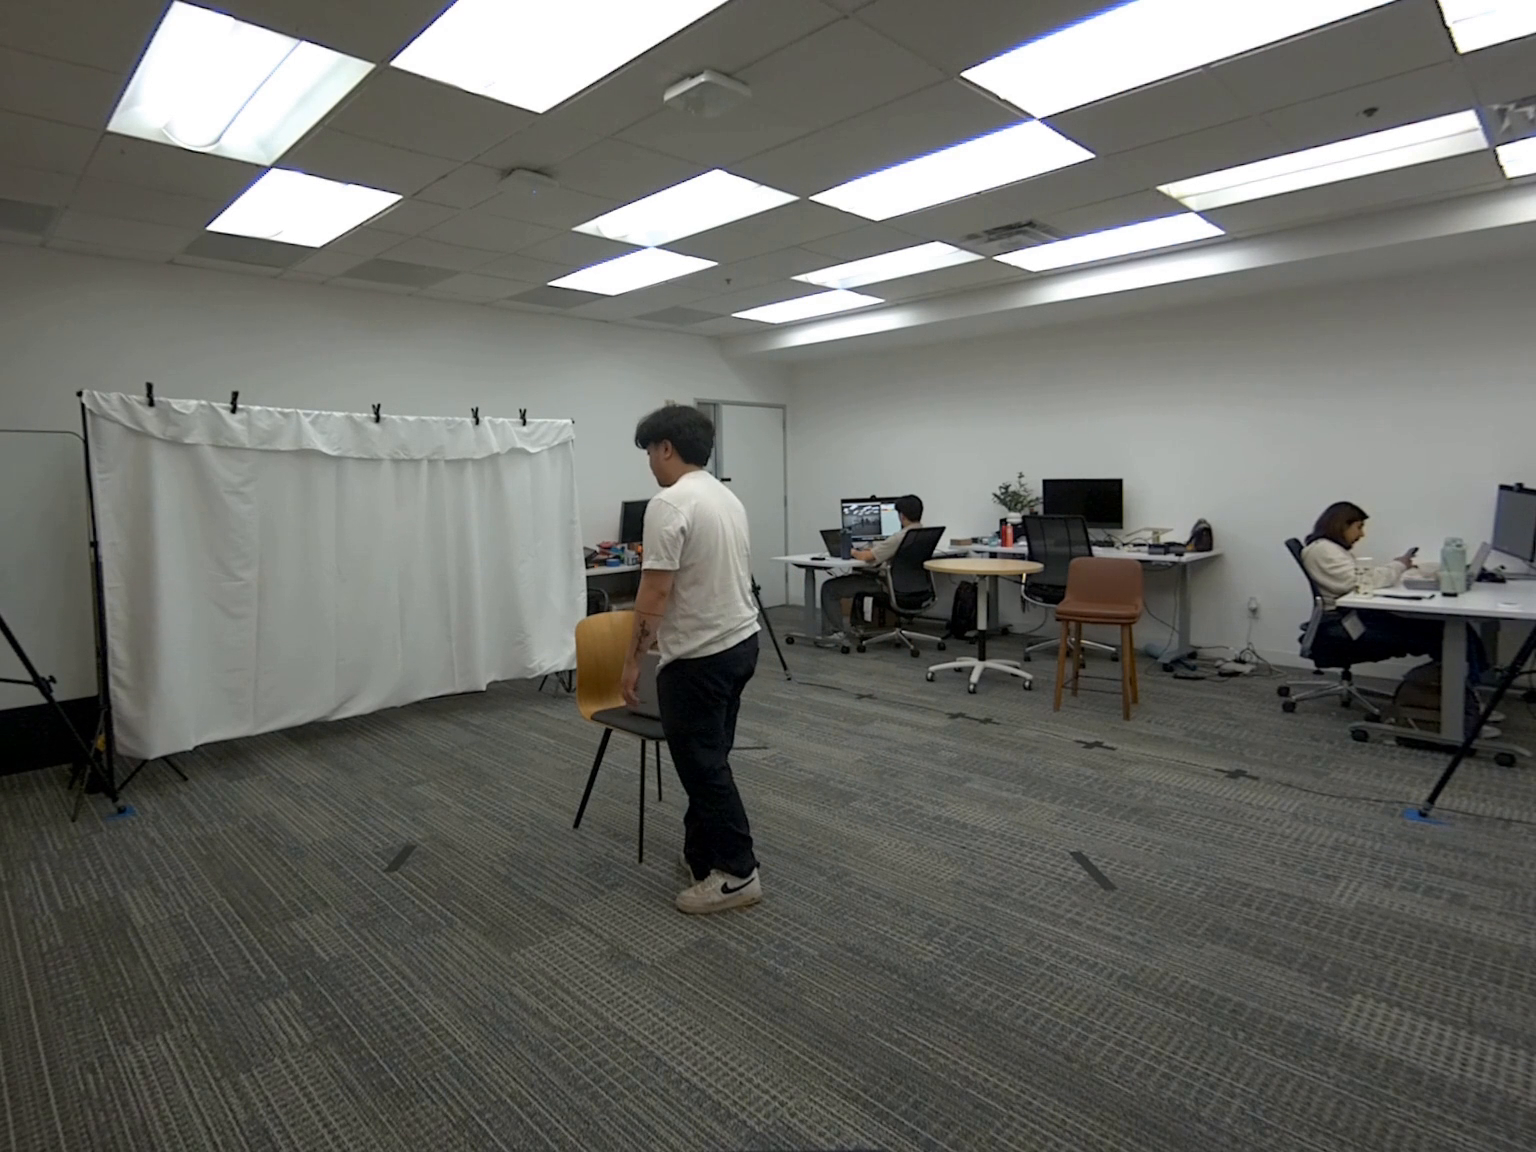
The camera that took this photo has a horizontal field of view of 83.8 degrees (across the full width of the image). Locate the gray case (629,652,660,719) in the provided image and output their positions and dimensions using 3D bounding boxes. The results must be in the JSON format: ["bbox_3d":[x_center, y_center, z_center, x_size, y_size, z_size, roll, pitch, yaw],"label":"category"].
[{"bbox_3d":[-0.438,0.417,3.352,0.101,0.262,0.264,10,-7,-41],"label":"gray case"}]
